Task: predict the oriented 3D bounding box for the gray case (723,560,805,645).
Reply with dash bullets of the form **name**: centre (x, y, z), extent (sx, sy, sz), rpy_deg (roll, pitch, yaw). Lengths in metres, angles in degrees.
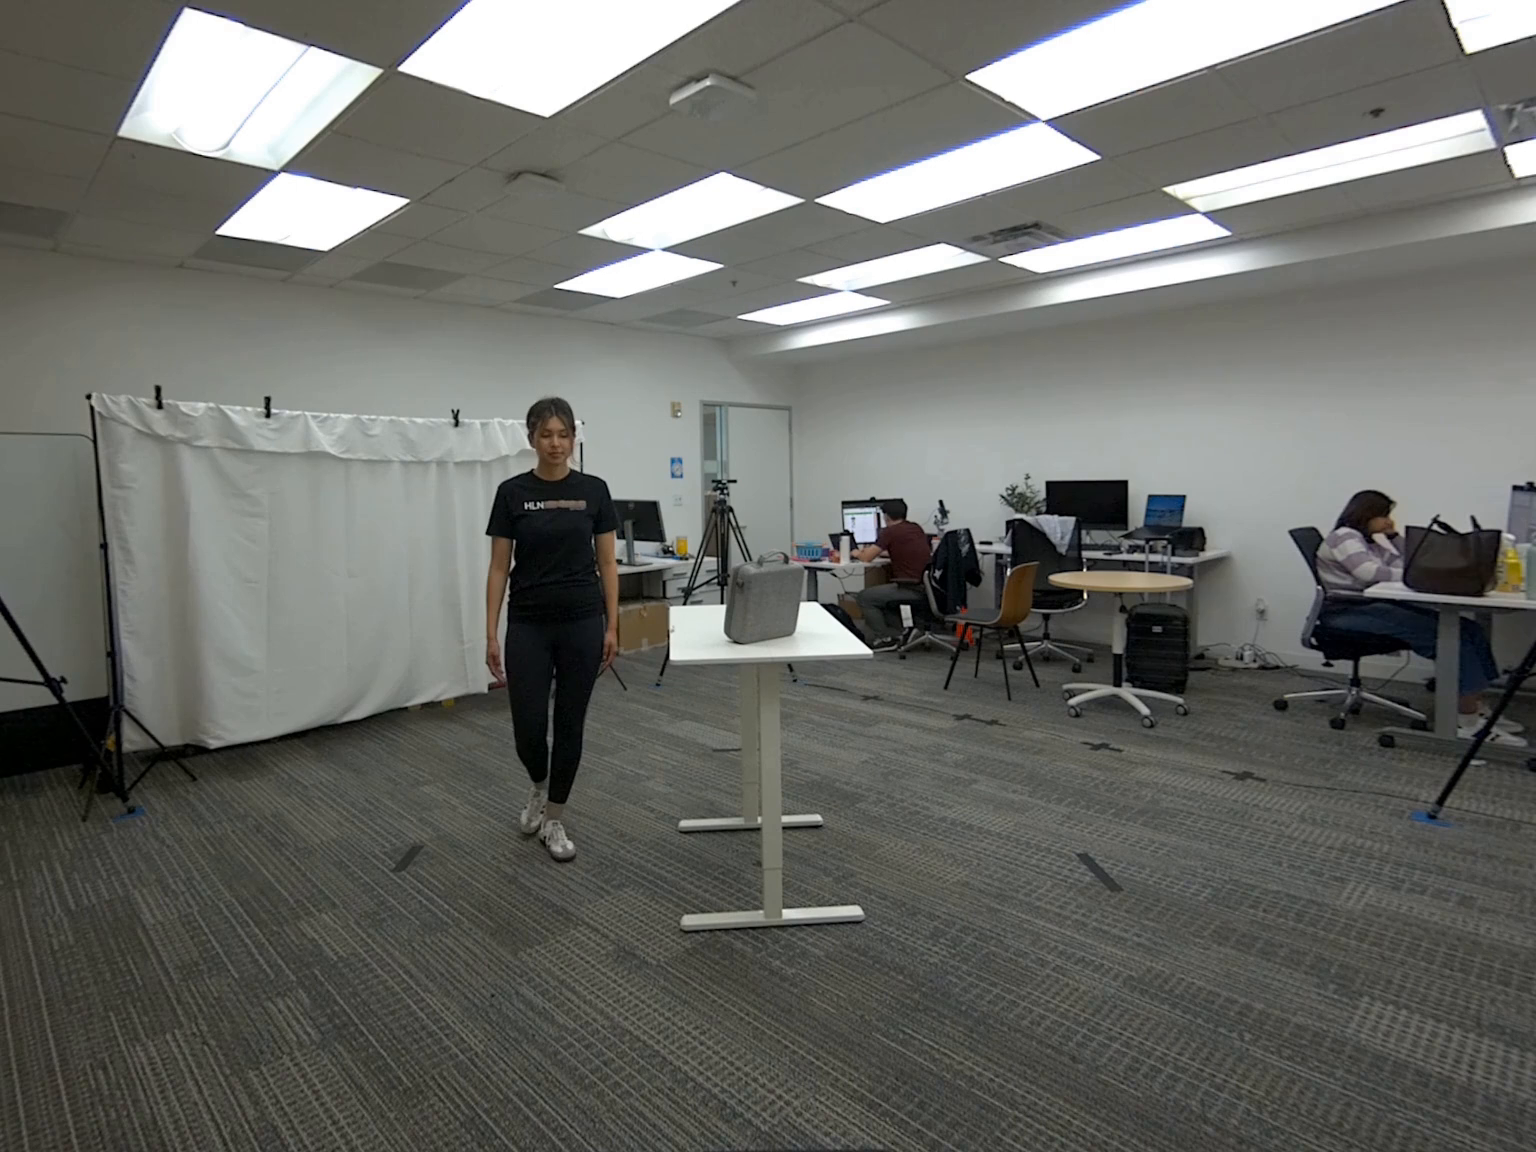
- **gray case**: centre (-0.006, 0.075, 2.756), extent (0.250, 0.258, 0.108), rpy_deg (-6, 19, -39)
